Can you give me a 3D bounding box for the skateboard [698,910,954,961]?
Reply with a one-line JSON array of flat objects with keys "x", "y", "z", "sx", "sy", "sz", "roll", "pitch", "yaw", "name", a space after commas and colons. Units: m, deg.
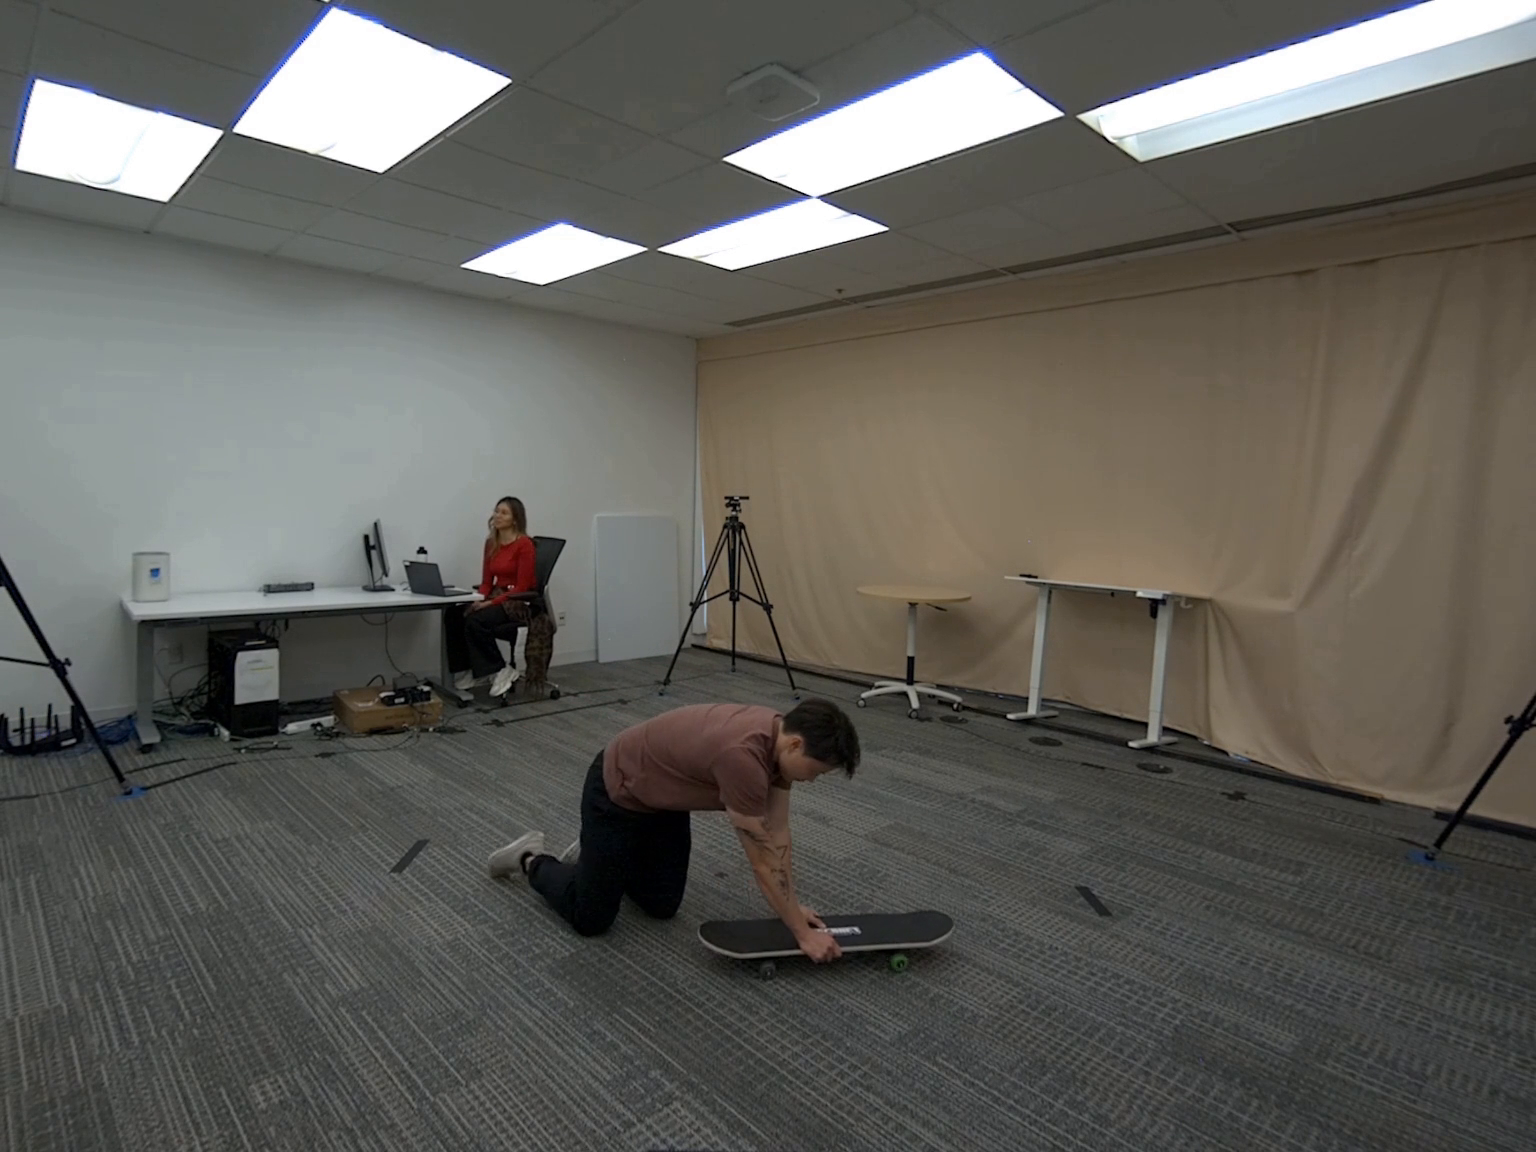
[{"x": 0.172, "y": 1.108, "z": 2.544, "sx": 0.780, "sy": 0.110, "sz": 0.195, "roll": 0, "pitch": 4, "yaw": -8, "name": "skateboard"}]
